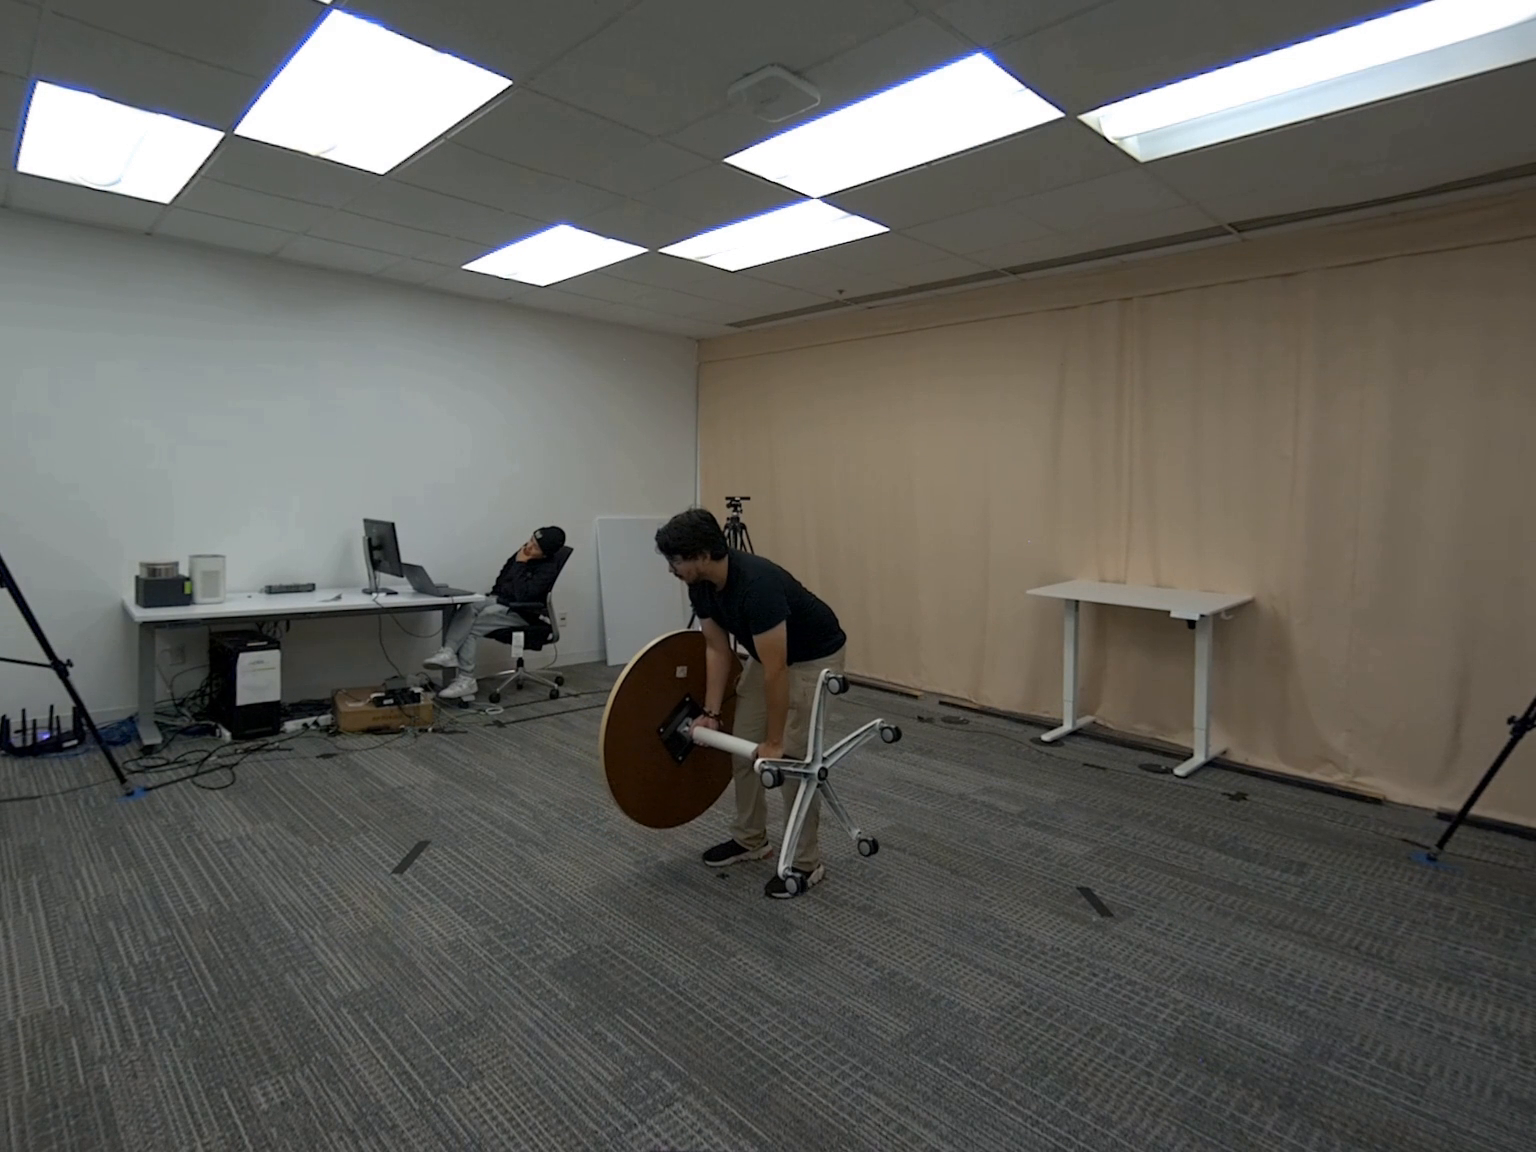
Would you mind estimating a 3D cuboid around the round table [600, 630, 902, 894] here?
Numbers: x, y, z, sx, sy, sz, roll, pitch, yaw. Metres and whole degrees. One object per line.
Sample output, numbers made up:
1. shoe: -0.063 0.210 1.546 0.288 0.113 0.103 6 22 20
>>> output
1. round table: -0.059 0.624 2.986 0.806 0.783 0.767 5 6 43
